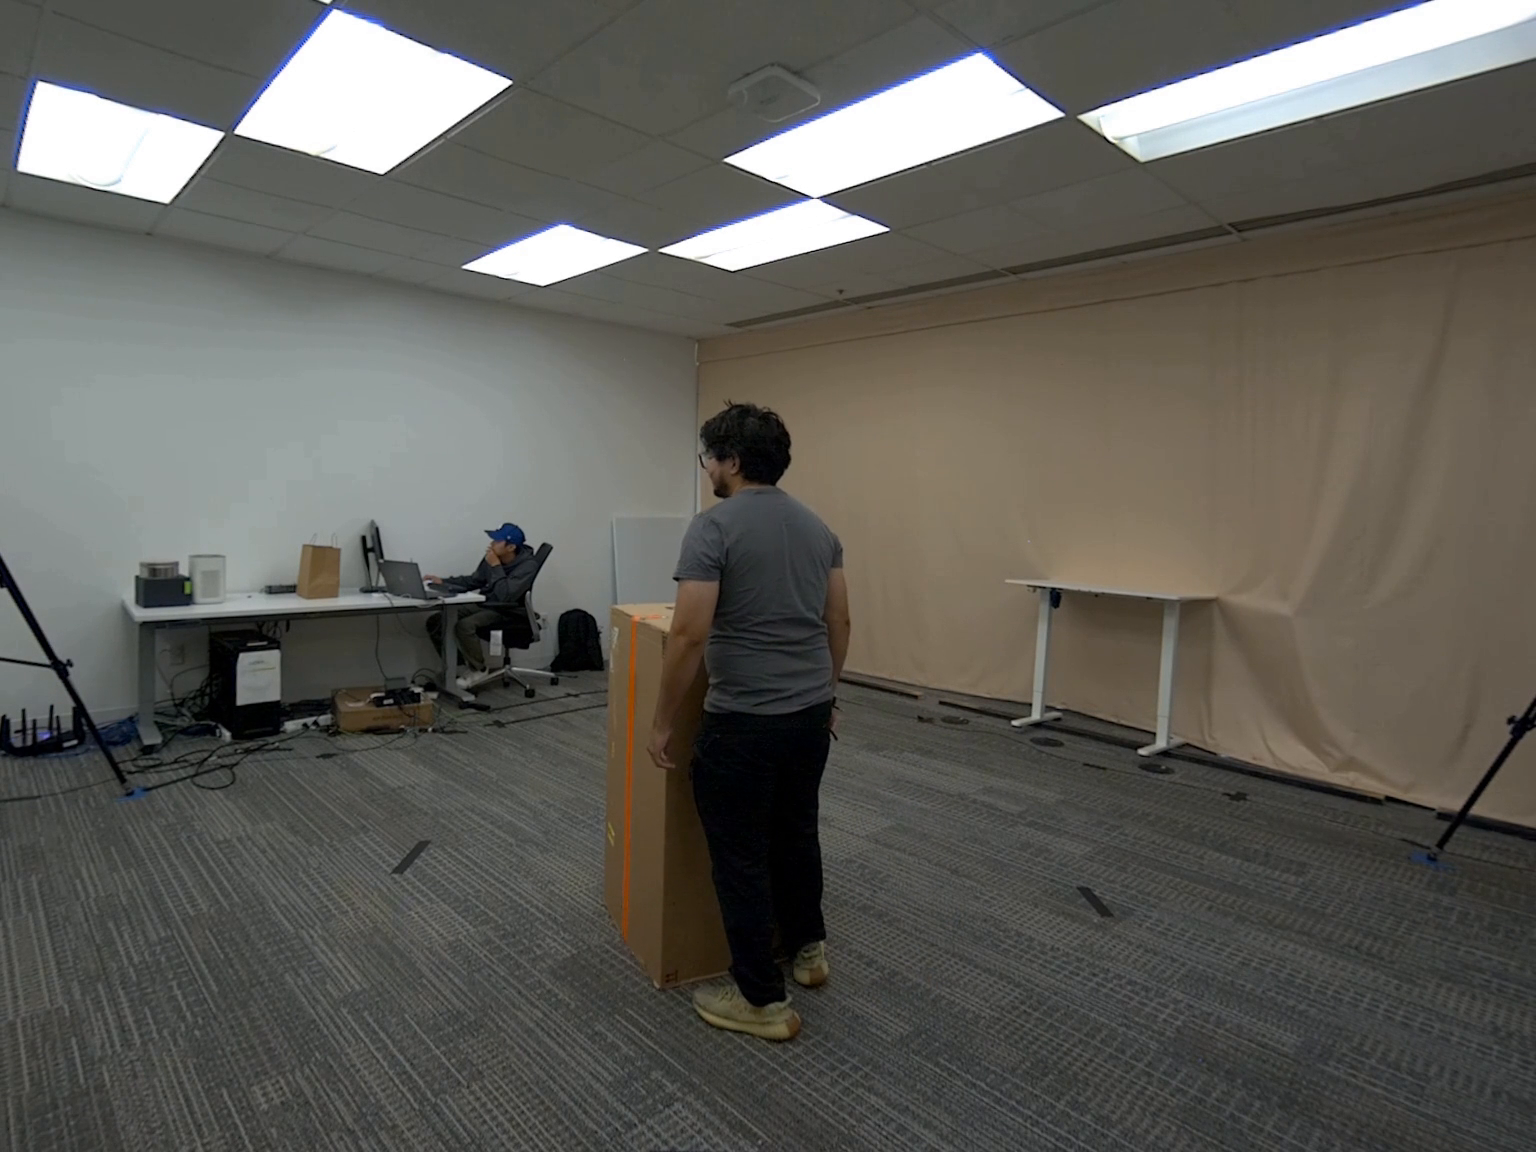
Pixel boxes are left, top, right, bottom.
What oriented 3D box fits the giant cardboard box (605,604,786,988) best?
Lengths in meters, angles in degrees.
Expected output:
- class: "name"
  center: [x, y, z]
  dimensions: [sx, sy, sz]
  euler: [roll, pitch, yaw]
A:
- class: "giant cardboard box"
  center: [-0.246, 0.636, 2.687]
  dimensions: [0.438, 1.025, 0.596]
  euler: [1, 4, -27]
